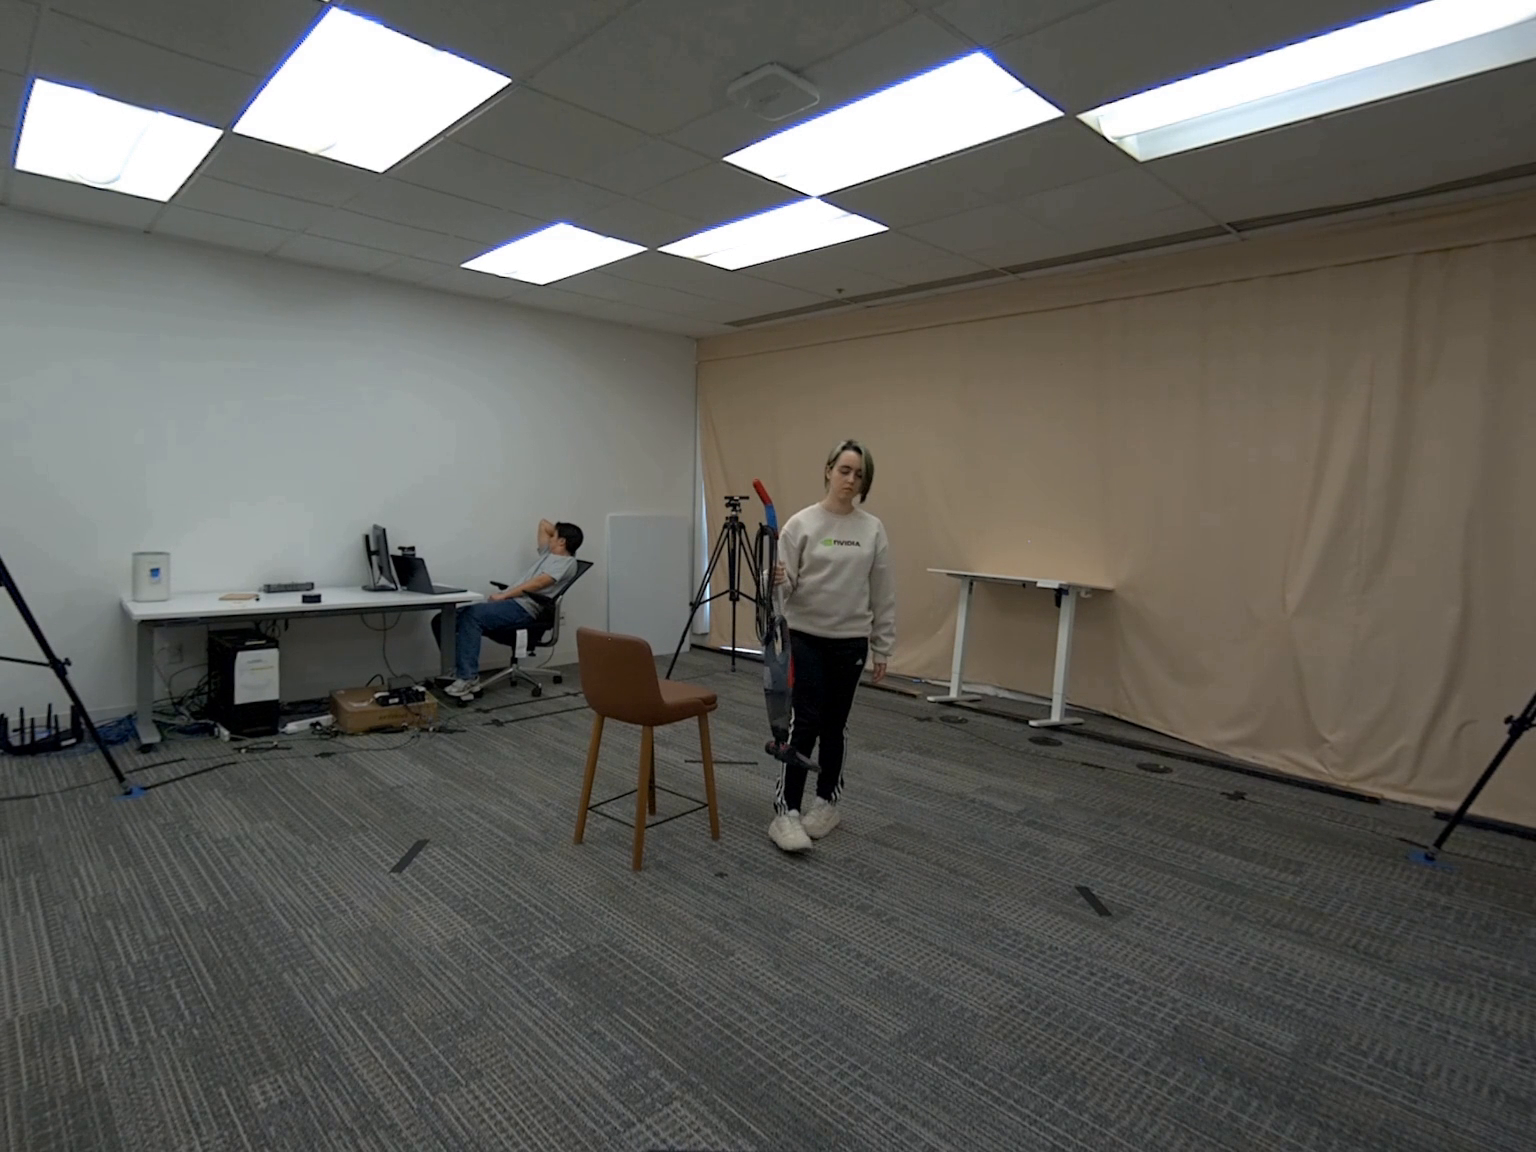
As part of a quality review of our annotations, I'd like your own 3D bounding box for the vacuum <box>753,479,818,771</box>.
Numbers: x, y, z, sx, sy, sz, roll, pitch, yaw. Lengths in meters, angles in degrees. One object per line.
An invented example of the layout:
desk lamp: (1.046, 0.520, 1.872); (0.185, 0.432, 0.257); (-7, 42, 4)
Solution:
vacuum: (0.013, 0.165, 3.152); (0.142, 1.046, 0.257); (-9, 4, -27)
